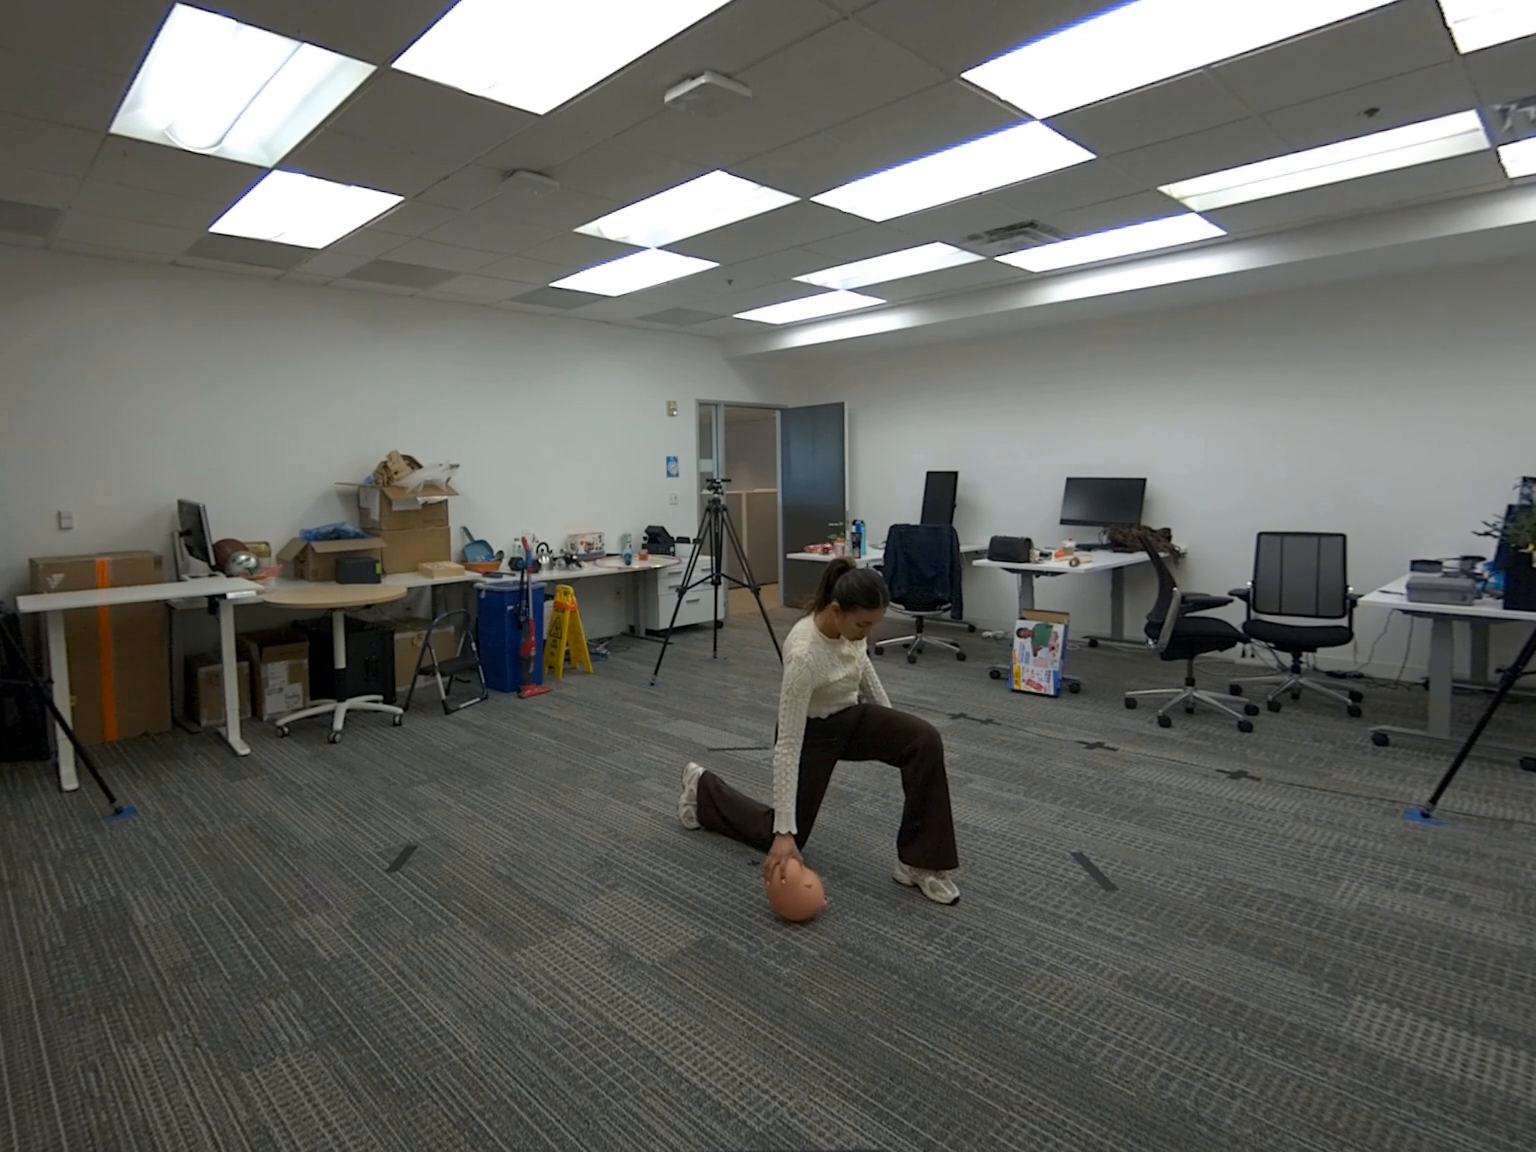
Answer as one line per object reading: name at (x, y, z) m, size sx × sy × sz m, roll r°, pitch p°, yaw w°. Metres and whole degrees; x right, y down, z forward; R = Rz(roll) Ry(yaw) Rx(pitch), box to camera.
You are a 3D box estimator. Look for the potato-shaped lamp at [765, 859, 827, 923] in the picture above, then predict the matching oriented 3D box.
potato-shaped lamp at (0.078, 0.983, 2.720) m, size 0.170 × 0.196 × 0.167 m, roll -25°, pitch 9°, yaw -10°
